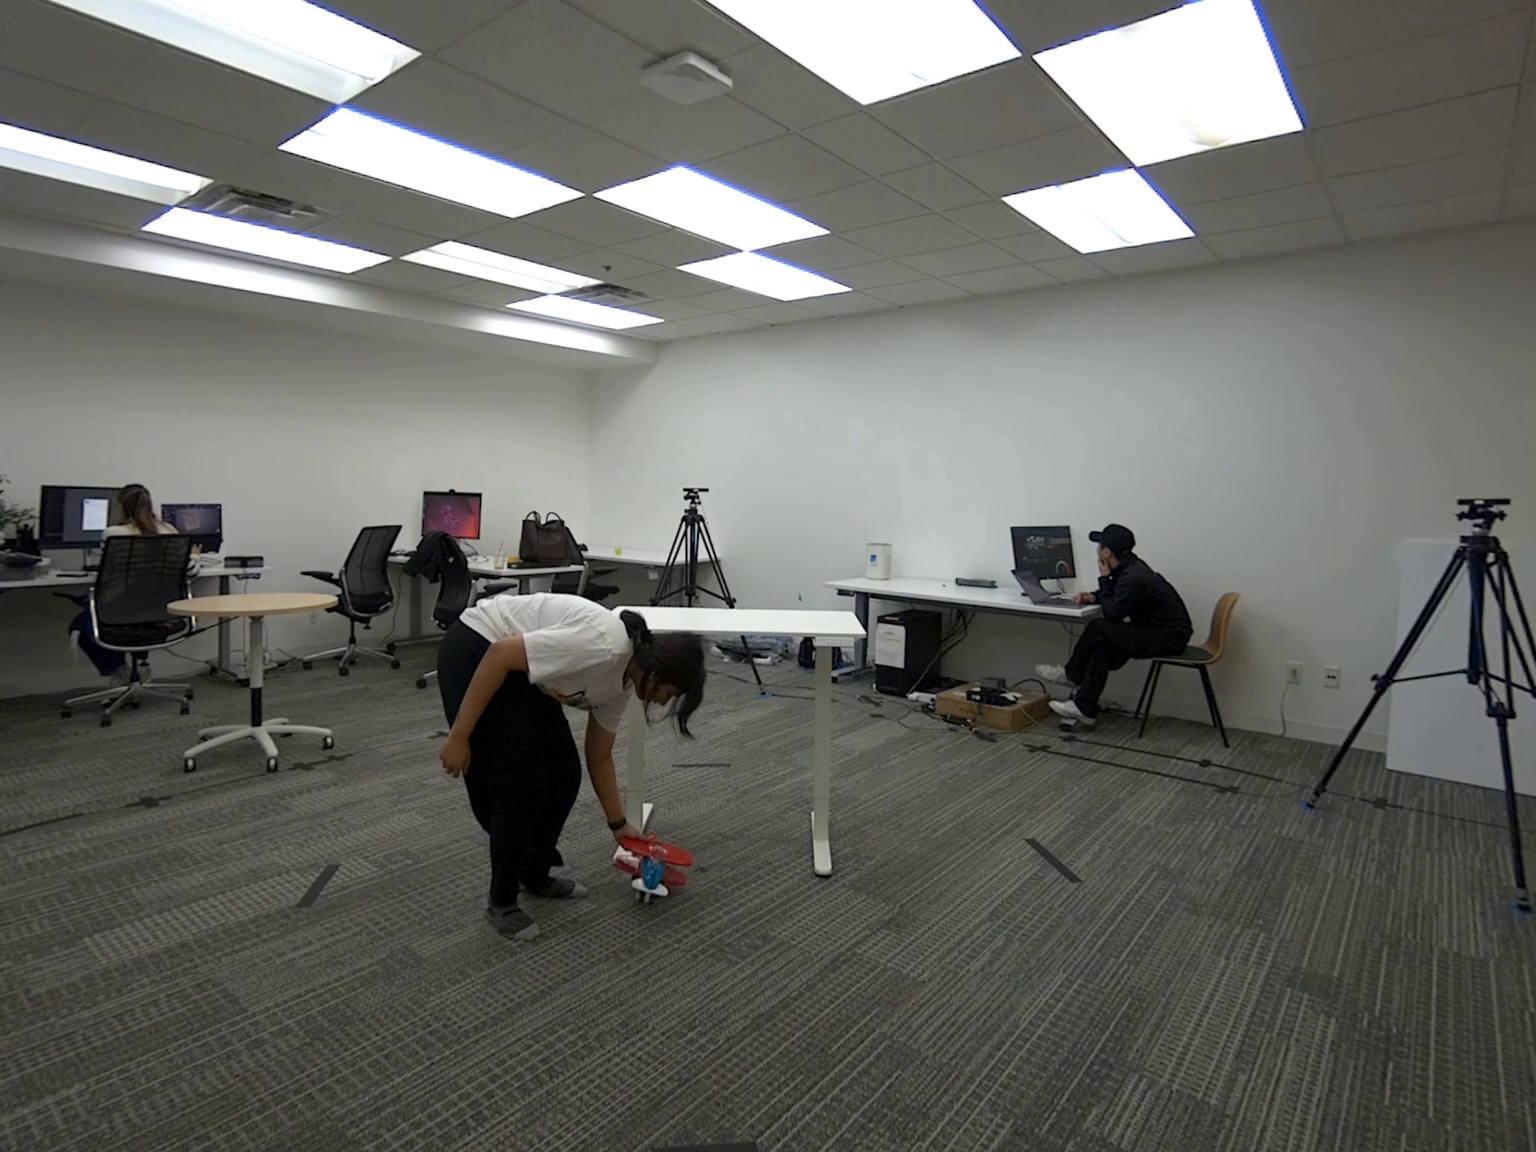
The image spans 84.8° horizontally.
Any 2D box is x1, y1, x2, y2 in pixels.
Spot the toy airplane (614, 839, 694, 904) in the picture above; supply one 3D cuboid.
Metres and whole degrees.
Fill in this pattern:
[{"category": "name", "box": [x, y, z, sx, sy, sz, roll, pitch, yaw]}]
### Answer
[{"category": "toy airplane", "box": [-0.384, 1.012, 2.883, 0.242, 0.157, 0.268, 17, -5, -35]}]
